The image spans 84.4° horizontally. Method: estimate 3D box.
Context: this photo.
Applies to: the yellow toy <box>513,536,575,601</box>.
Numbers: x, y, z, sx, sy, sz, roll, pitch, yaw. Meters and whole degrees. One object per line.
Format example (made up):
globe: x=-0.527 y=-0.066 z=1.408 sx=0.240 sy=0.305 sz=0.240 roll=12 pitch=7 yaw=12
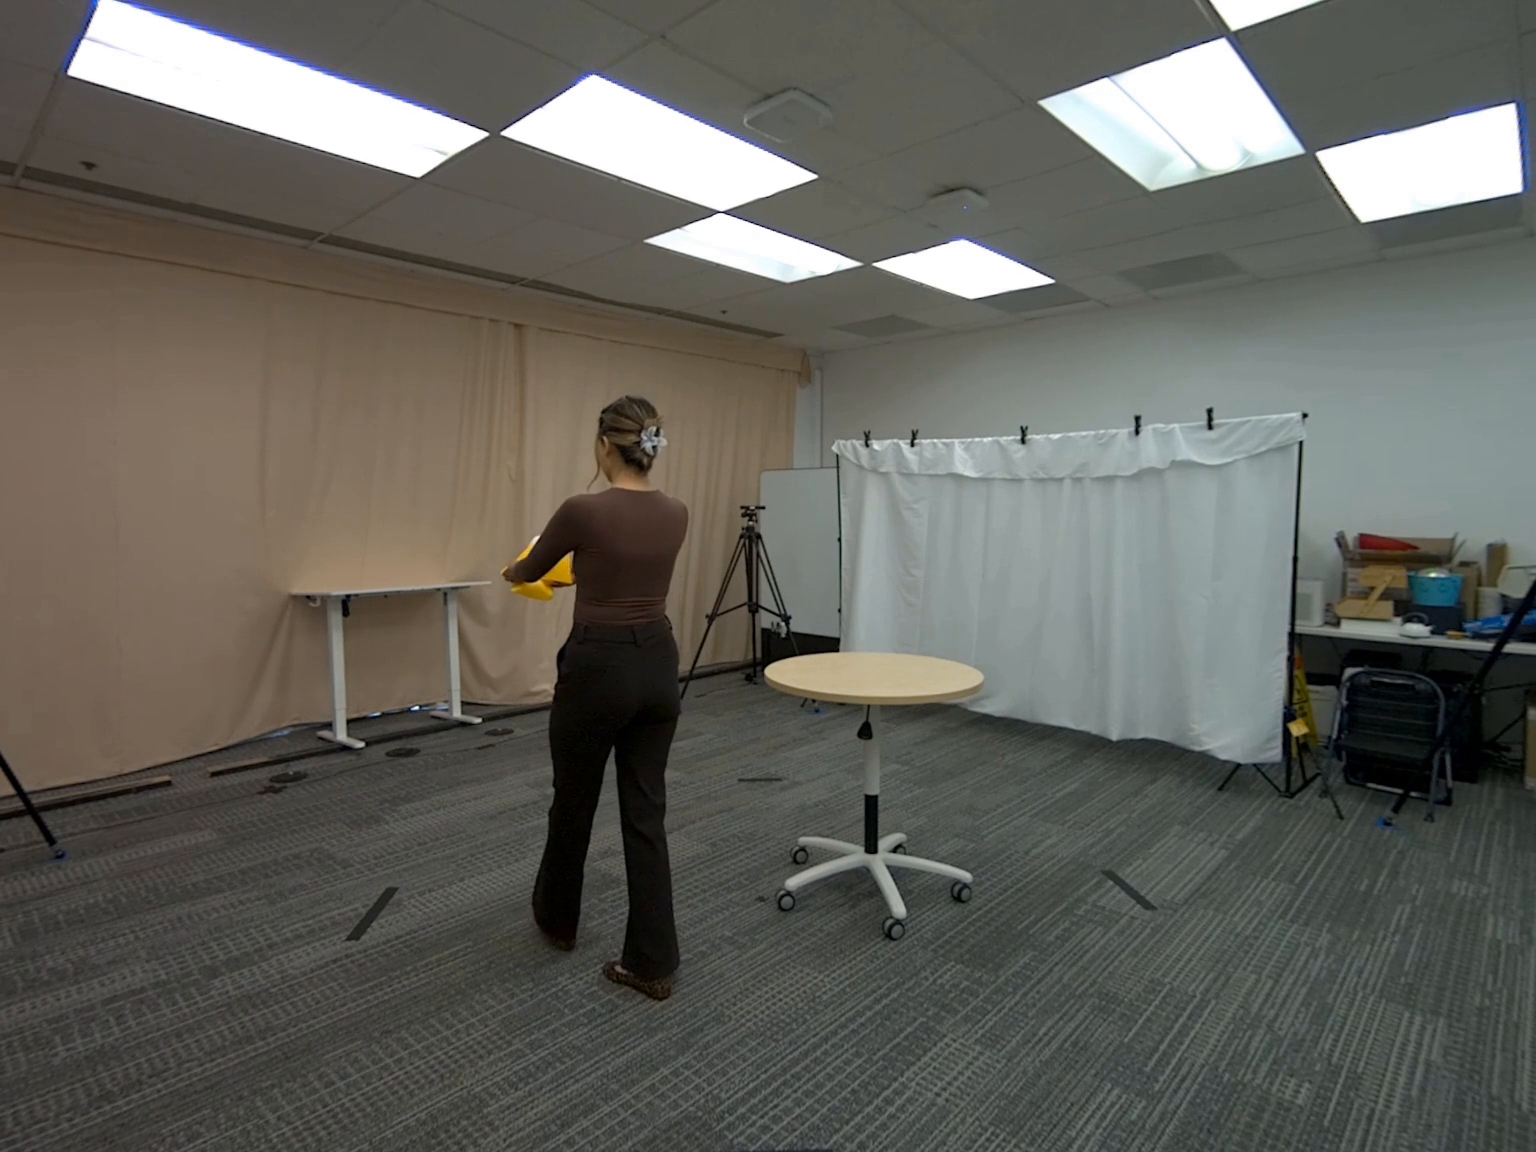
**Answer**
yellow toy: x=-0.772 y=-0.071 z=2.854 sx=0.186 sy=0.230 sz=0.212 roll=14 pitch=17 yaw=-37
